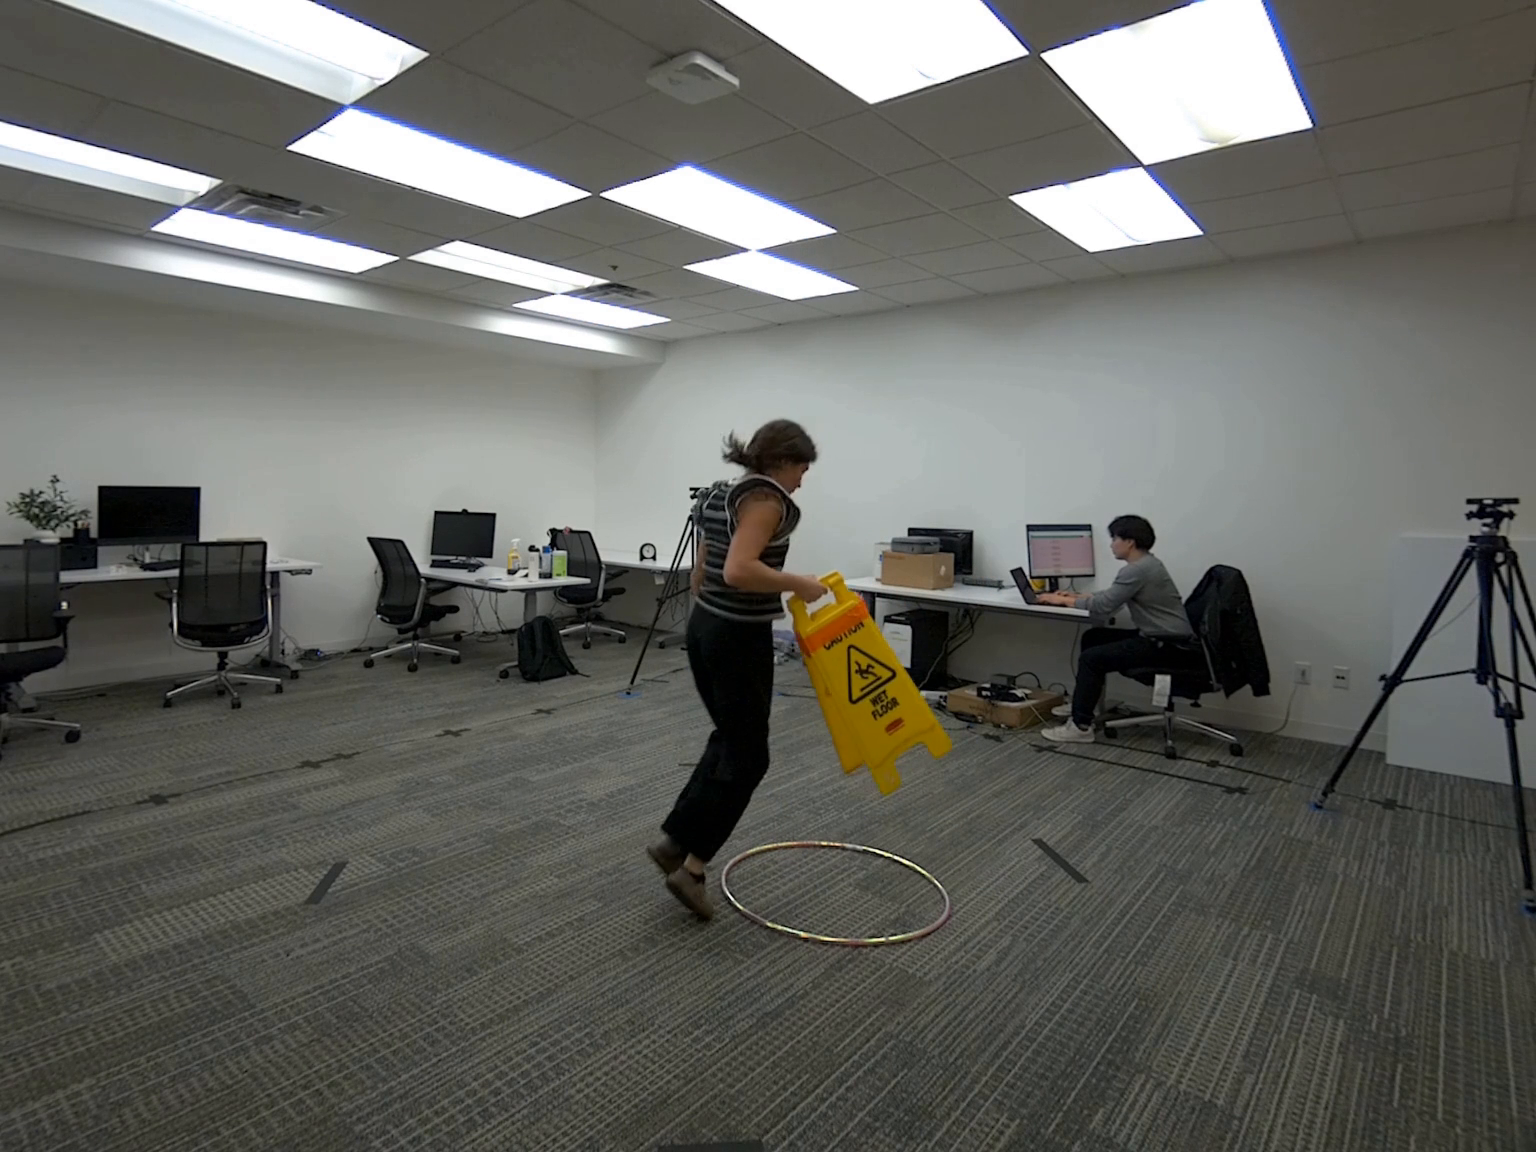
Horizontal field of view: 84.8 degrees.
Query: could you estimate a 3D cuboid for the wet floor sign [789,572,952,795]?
[{"bbox_3d":[0.250,0.322,2.681,0.280,0.639,0.295,-28,9,-17],"label":"wet floor sign"}]
